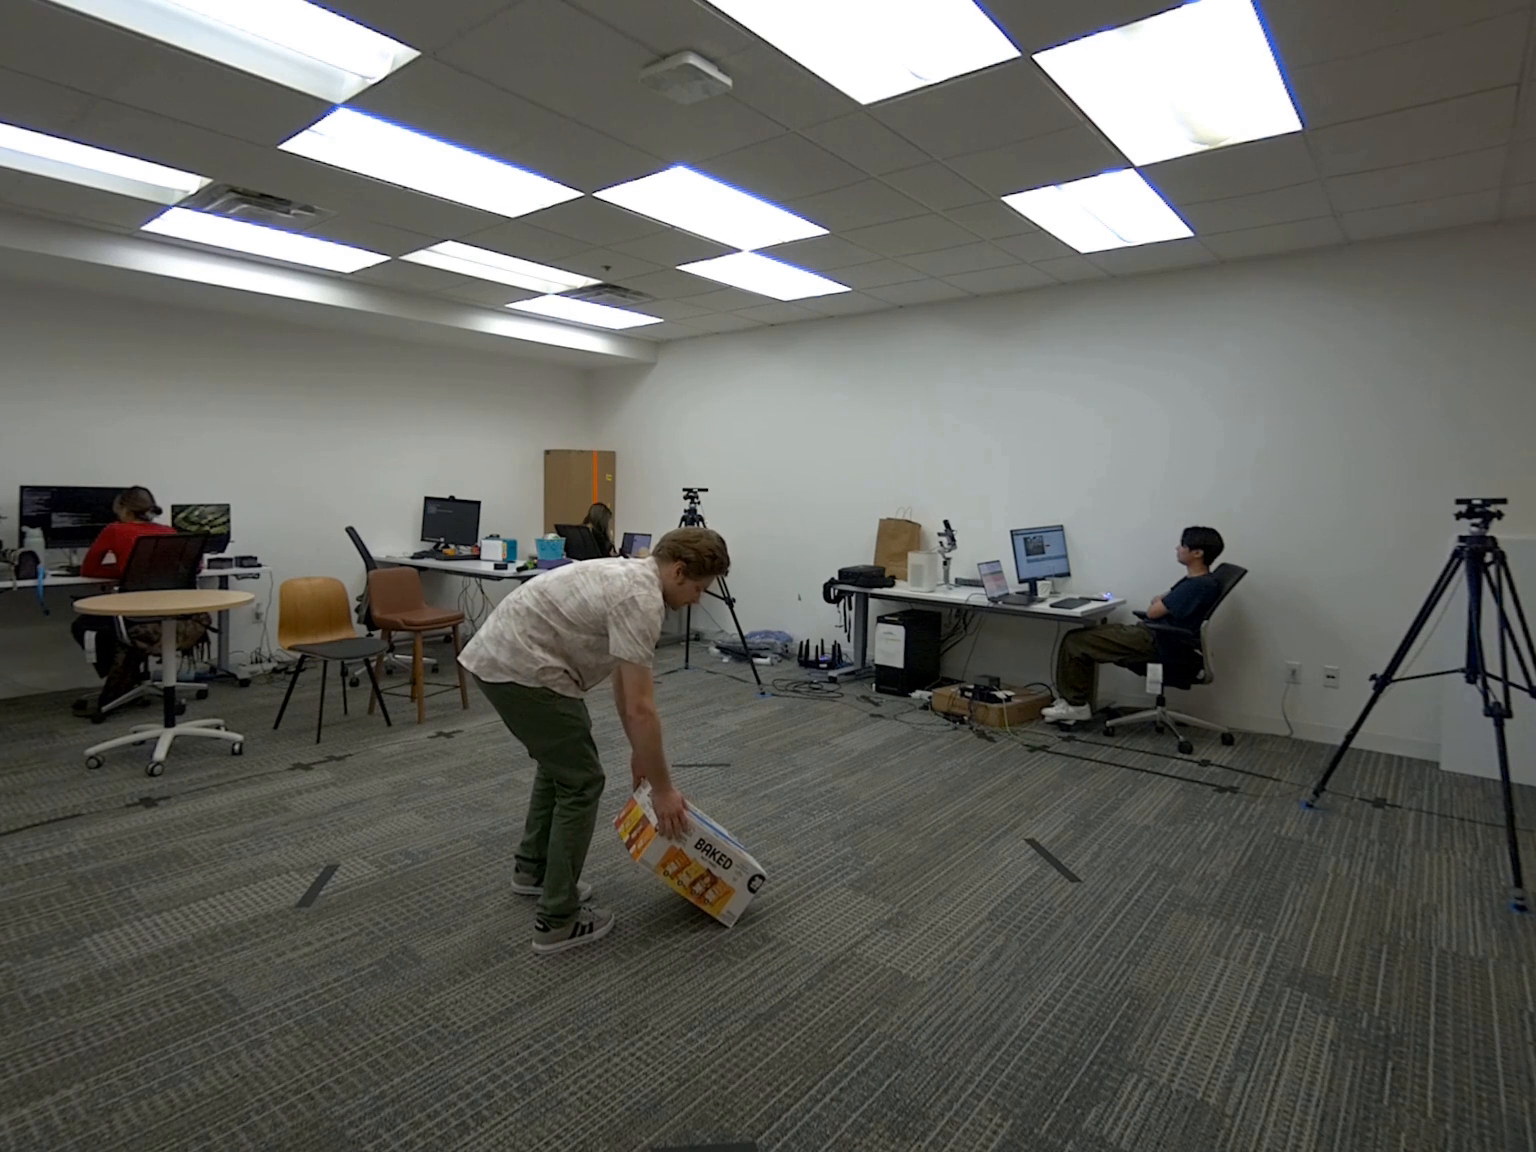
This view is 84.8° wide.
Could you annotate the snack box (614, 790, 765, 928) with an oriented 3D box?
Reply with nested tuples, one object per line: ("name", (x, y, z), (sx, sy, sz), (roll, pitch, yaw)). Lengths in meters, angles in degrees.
("snack box", (-0.271, 0.898, 2.804), (0.395, 0.206, 0.348), (41, -10, -19))
